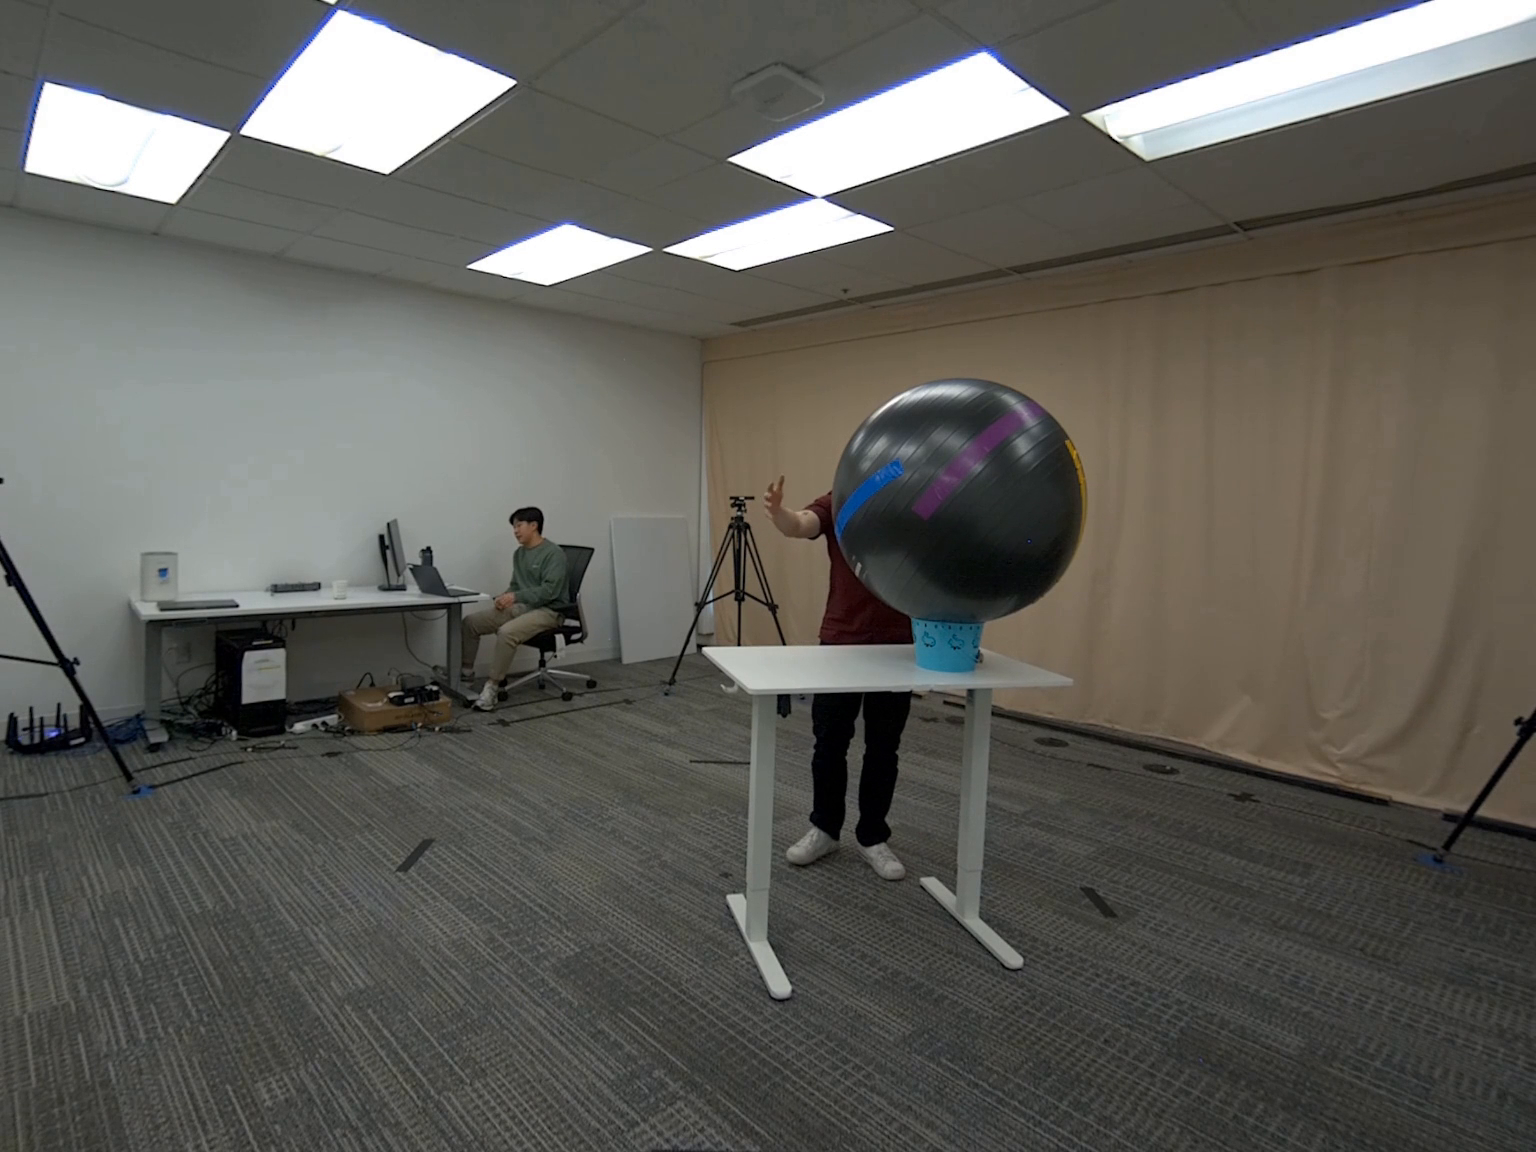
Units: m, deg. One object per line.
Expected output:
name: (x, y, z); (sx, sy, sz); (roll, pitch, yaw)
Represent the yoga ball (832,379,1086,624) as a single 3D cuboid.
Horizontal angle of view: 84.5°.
yoga ball: (0.586, -0.220, 2.601); (0.757, 0.756, 0.760); (1, 4, -1)
